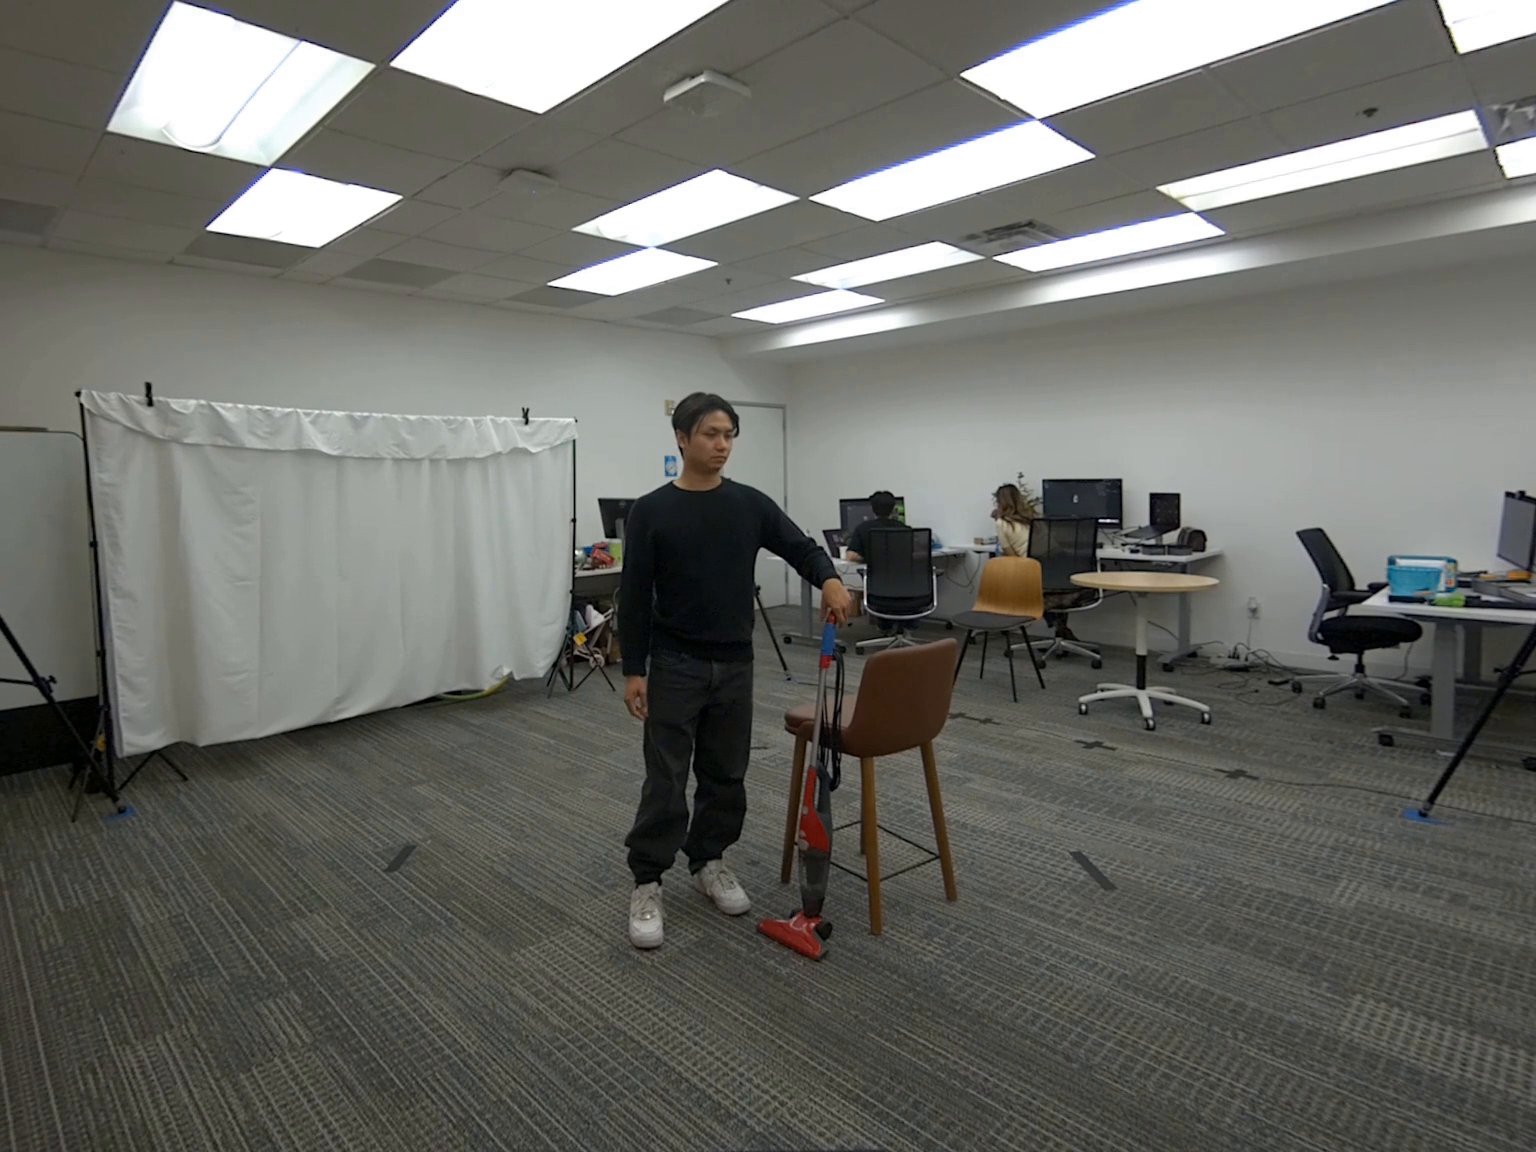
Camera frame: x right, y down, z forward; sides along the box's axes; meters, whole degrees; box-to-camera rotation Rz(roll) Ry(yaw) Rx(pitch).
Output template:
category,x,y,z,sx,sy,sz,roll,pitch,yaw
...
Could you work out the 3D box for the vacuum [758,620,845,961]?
category,x,y,z,sx,sy,sz,roll,pitch,yaw
vacuum,0.180,0.586,2.633,0.260,1.054,0.139,2,-7,43
